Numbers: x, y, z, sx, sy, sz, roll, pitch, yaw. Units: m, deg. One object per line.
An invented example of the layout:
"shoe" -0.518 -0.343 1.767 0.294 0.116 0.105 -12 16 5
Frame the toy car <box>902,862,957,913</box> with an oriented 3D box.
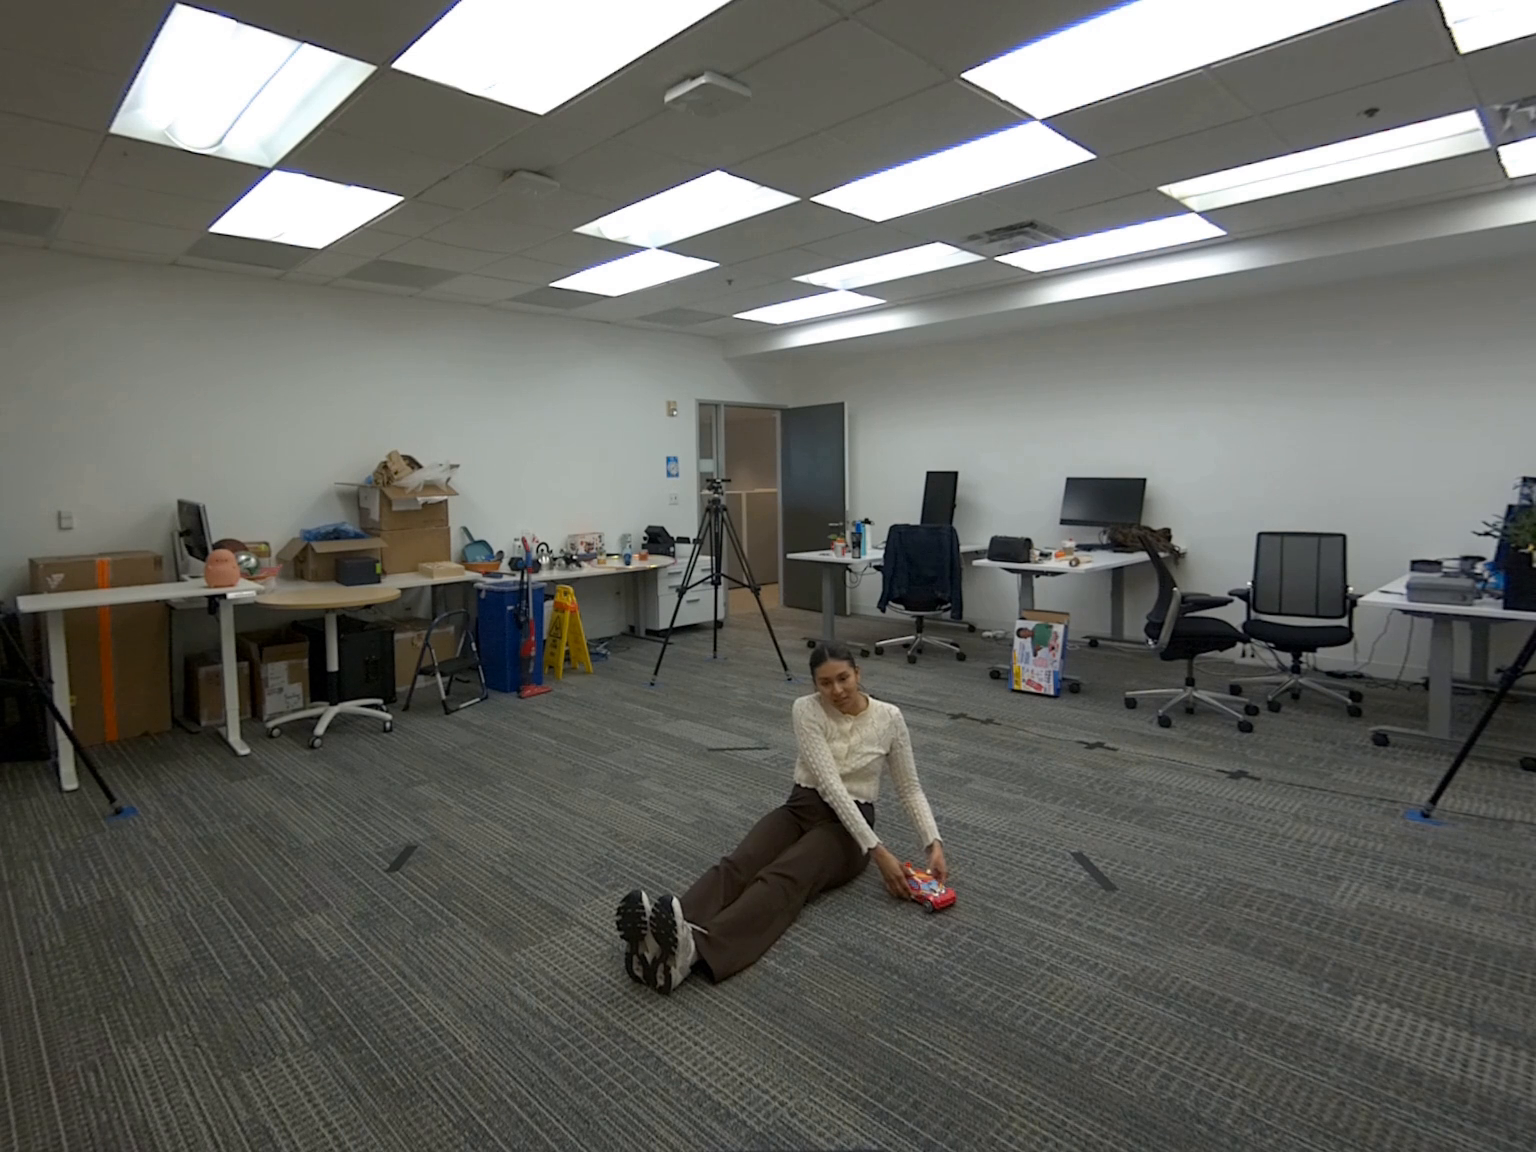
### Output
"toy car" 0.507 1.029 2.836 0.127 0.082 0.264 -2 17 -32
